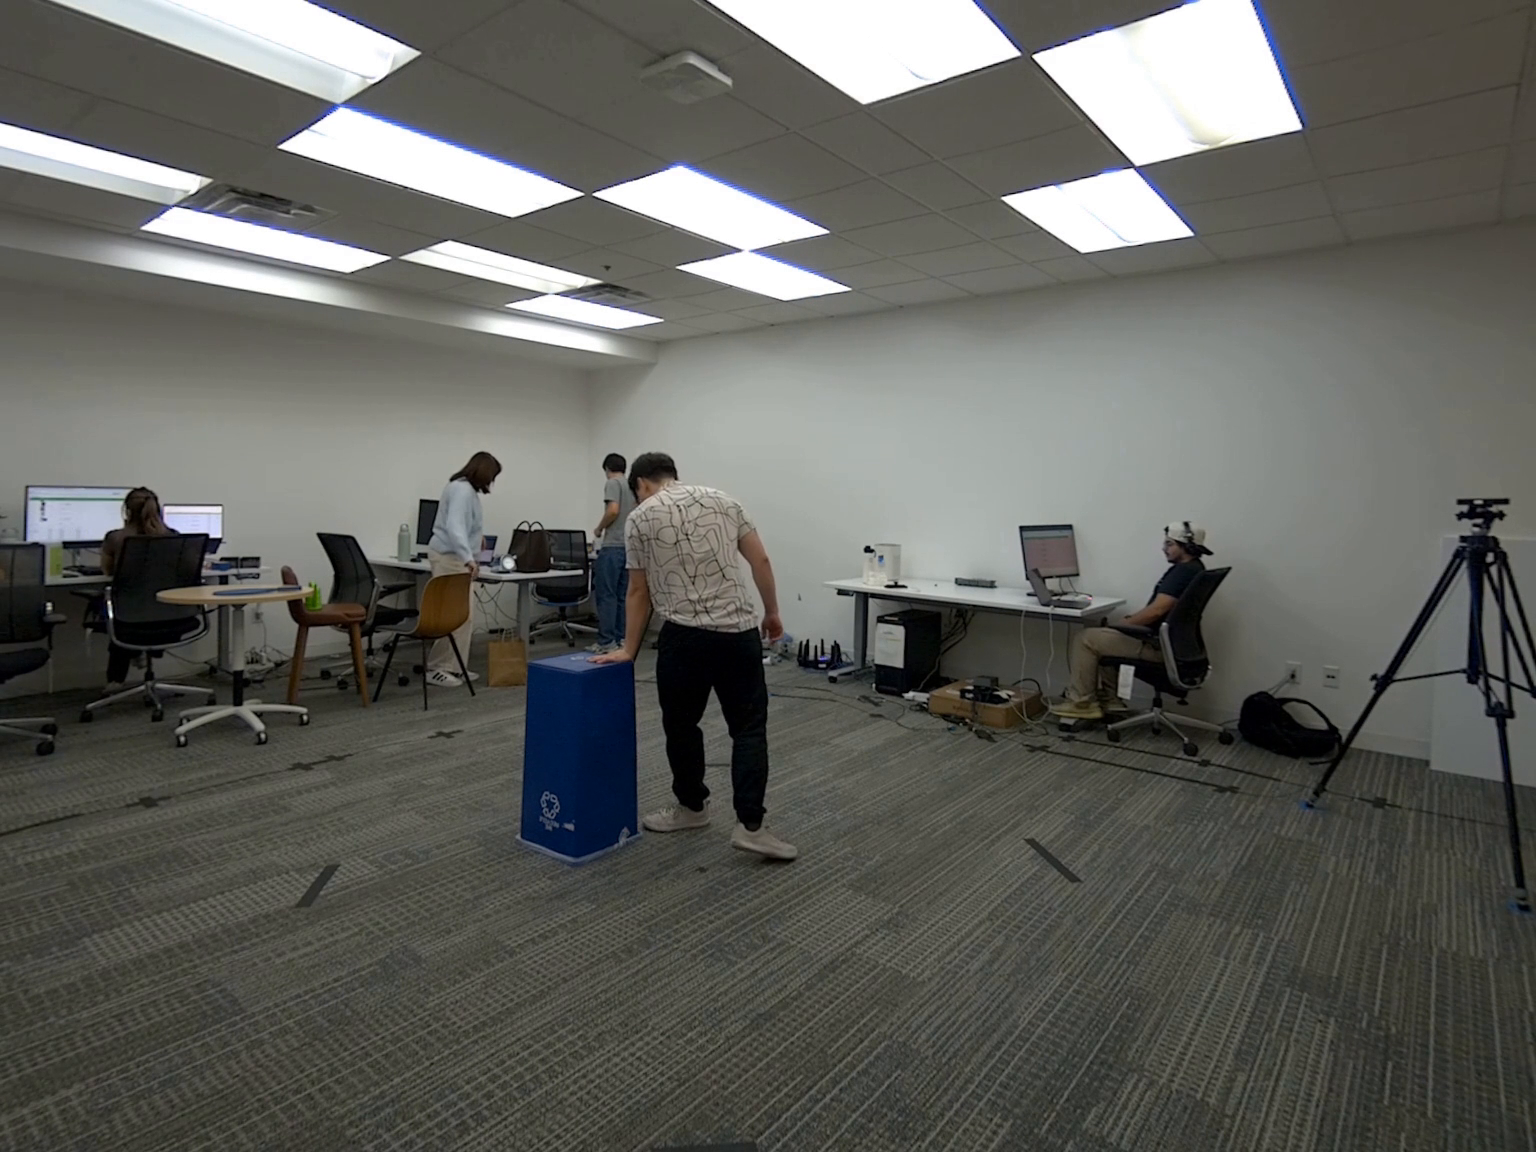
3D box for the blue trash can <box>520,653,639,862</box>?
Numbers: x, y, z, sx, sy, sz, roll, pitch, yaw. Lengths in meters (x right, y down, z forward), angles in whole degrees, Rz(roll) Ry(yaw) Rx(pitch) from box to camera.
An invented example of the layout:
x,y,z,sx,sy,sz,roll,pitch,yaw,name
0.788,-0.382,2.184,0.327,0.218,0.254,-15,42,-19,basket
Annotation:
x,y,z,sx,sy,sz,roll,pitch,yaw,name
-0.756,0.685,3.352,0.386,0.712,0.367,2,2,36,blue trash can
